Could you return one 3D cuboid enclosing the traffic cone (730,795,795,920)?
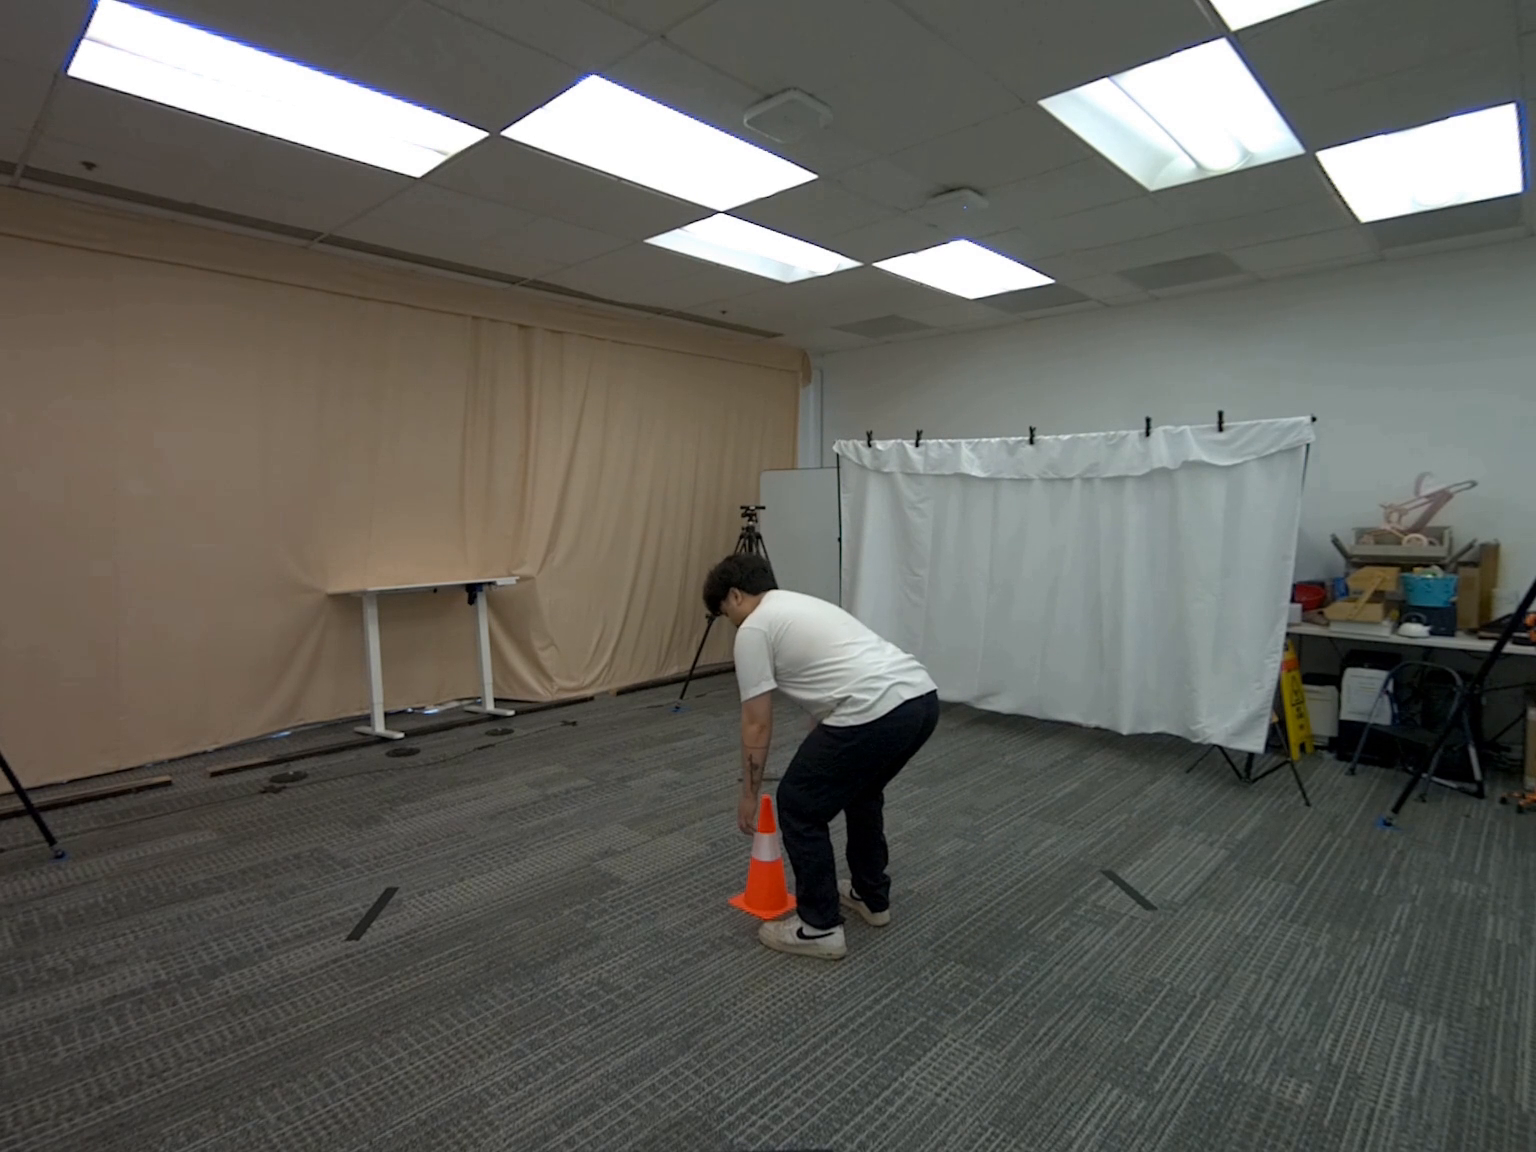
[{"bbox_3d":[-0.007,0.965,2.944,0.210,0.382,0.199,4,8,37],"label":"traffic cone"}]
